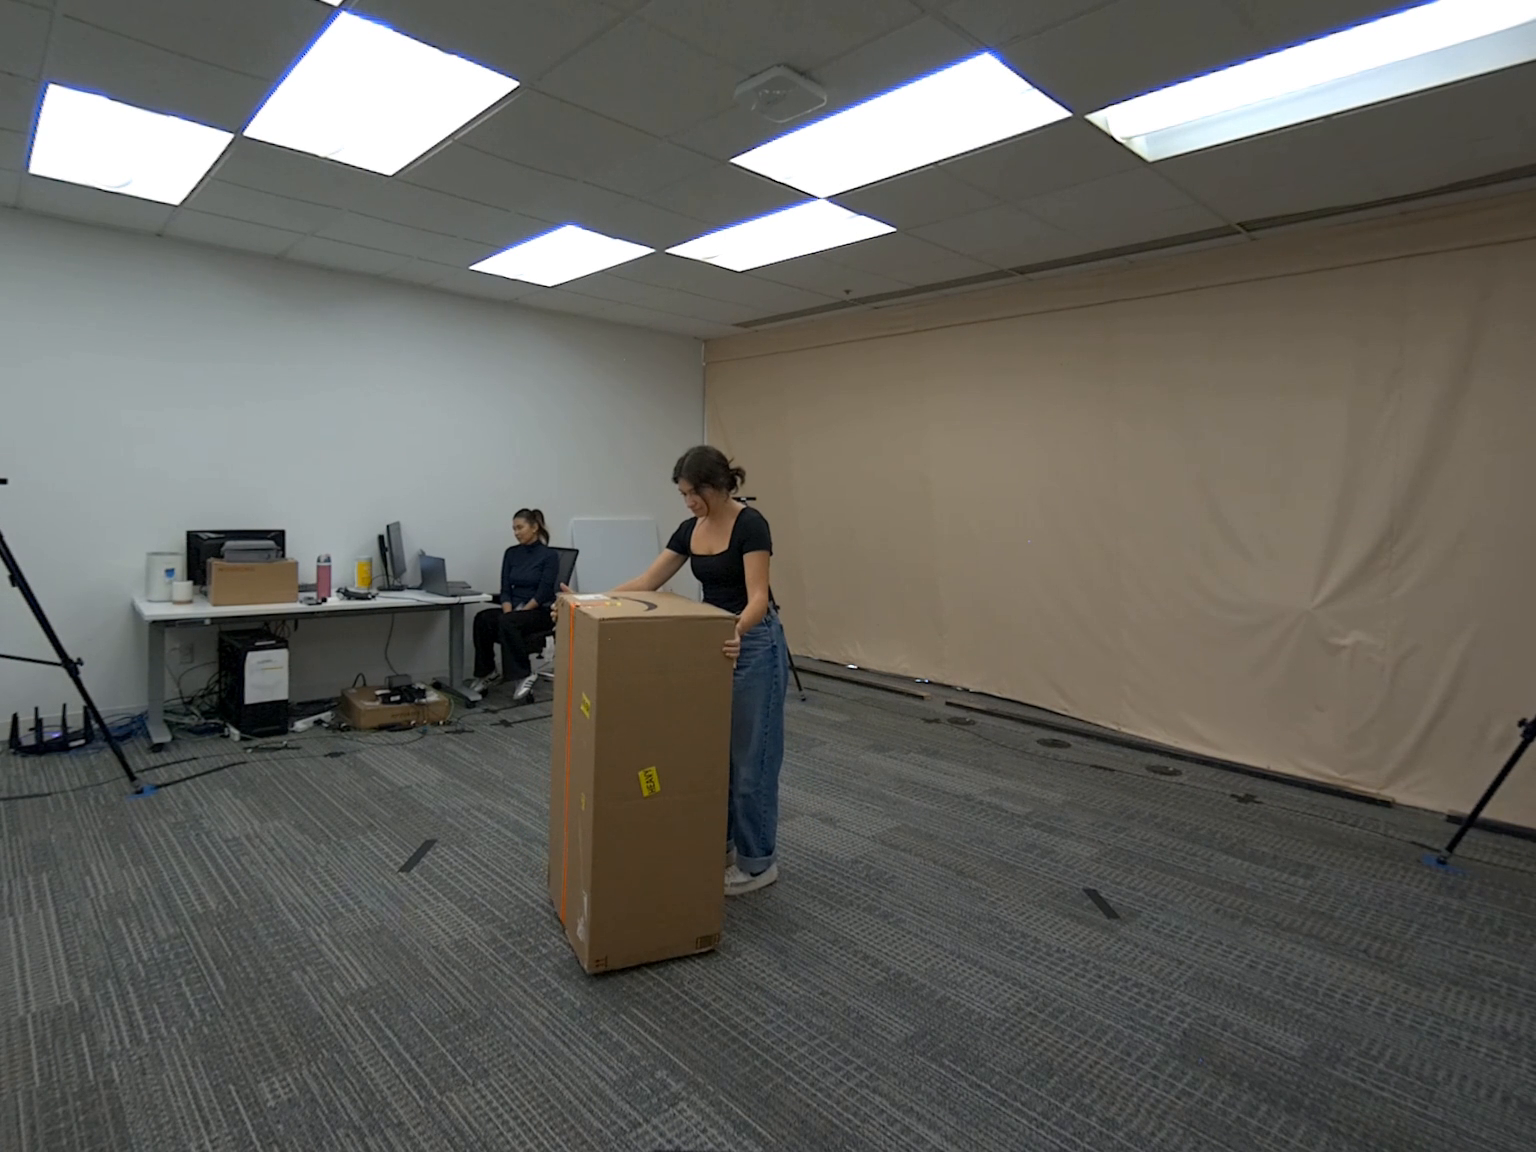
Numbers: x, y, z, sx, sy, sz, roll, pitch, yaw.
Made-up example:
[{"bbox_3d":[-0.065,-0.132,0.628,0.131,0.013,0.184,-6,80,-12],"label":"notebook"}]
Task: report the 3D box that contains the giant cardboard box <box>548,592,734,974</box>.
[{"bbox_3d":[-0.440,0.604,2.696,0.418,1.023,0.590,1,4,-26],"label":"giant cardboard box"}]
